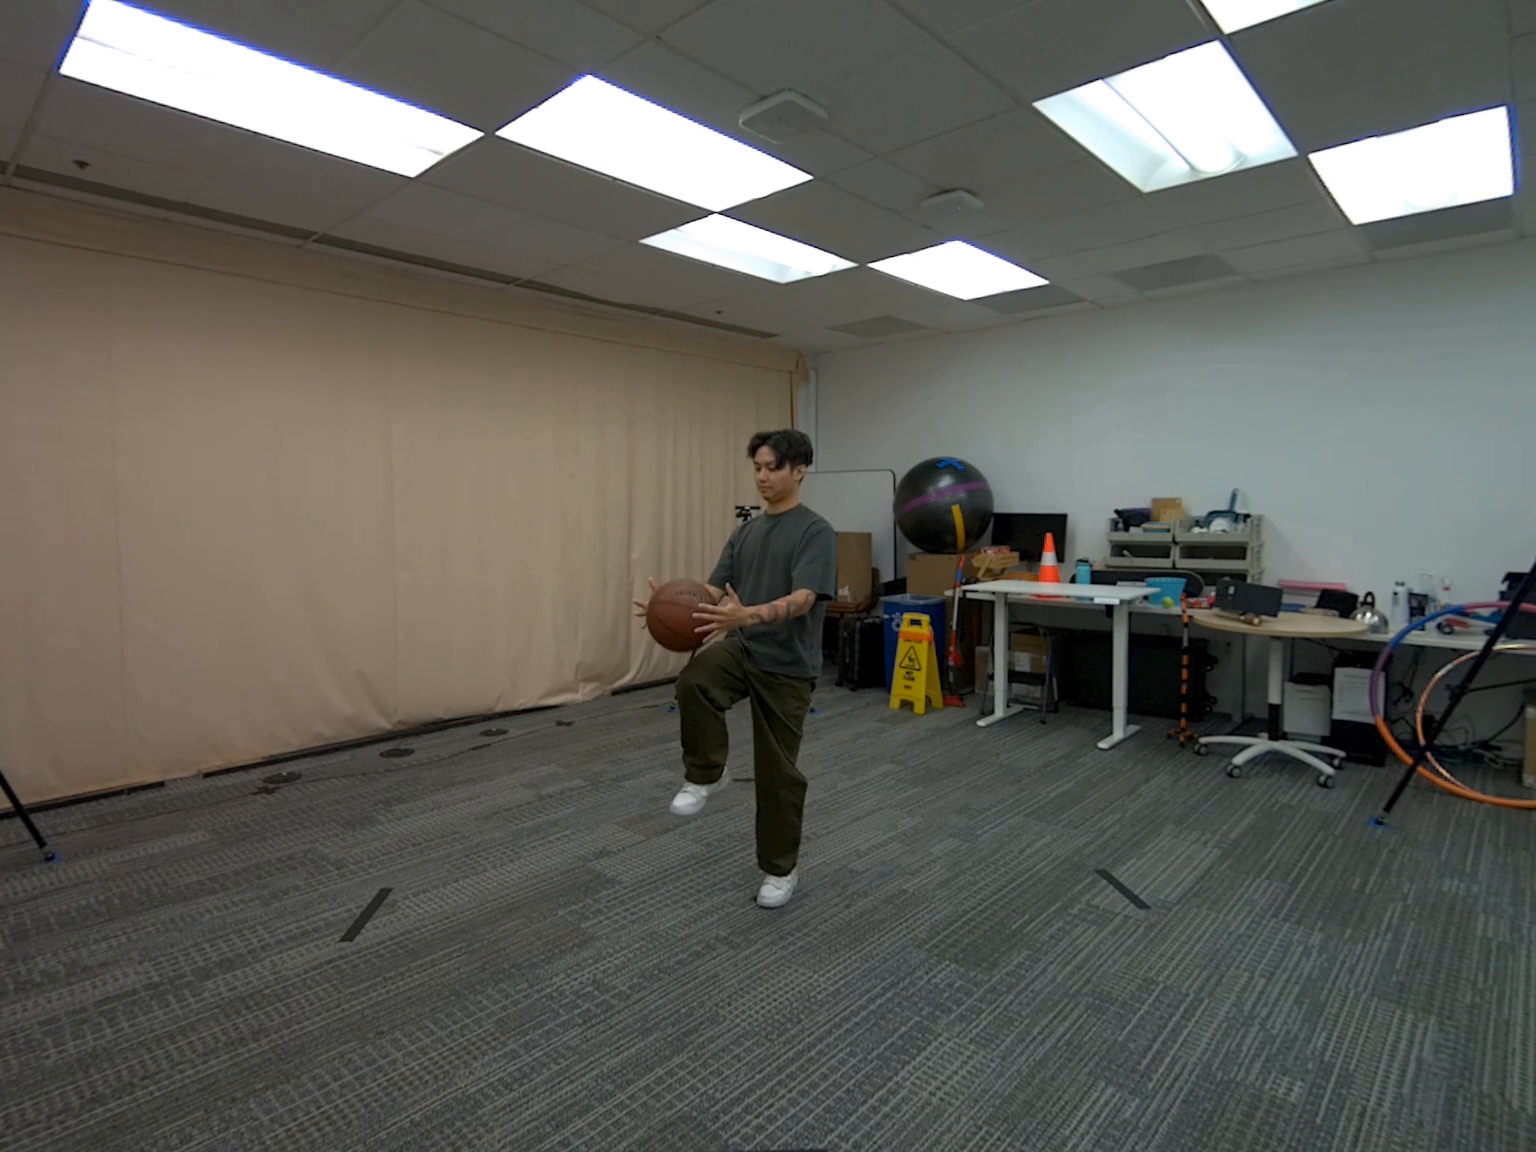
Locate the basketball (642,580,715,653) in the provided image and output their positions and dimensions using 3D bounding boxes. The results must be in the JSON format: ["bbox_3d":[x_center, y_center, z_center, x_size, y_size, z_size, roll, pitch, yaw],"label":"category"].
[{"bbox_3d":[-0.286,0.086,2.727,0.236,0.235,0.237,0,4,-2],"label":"basketball"}]
